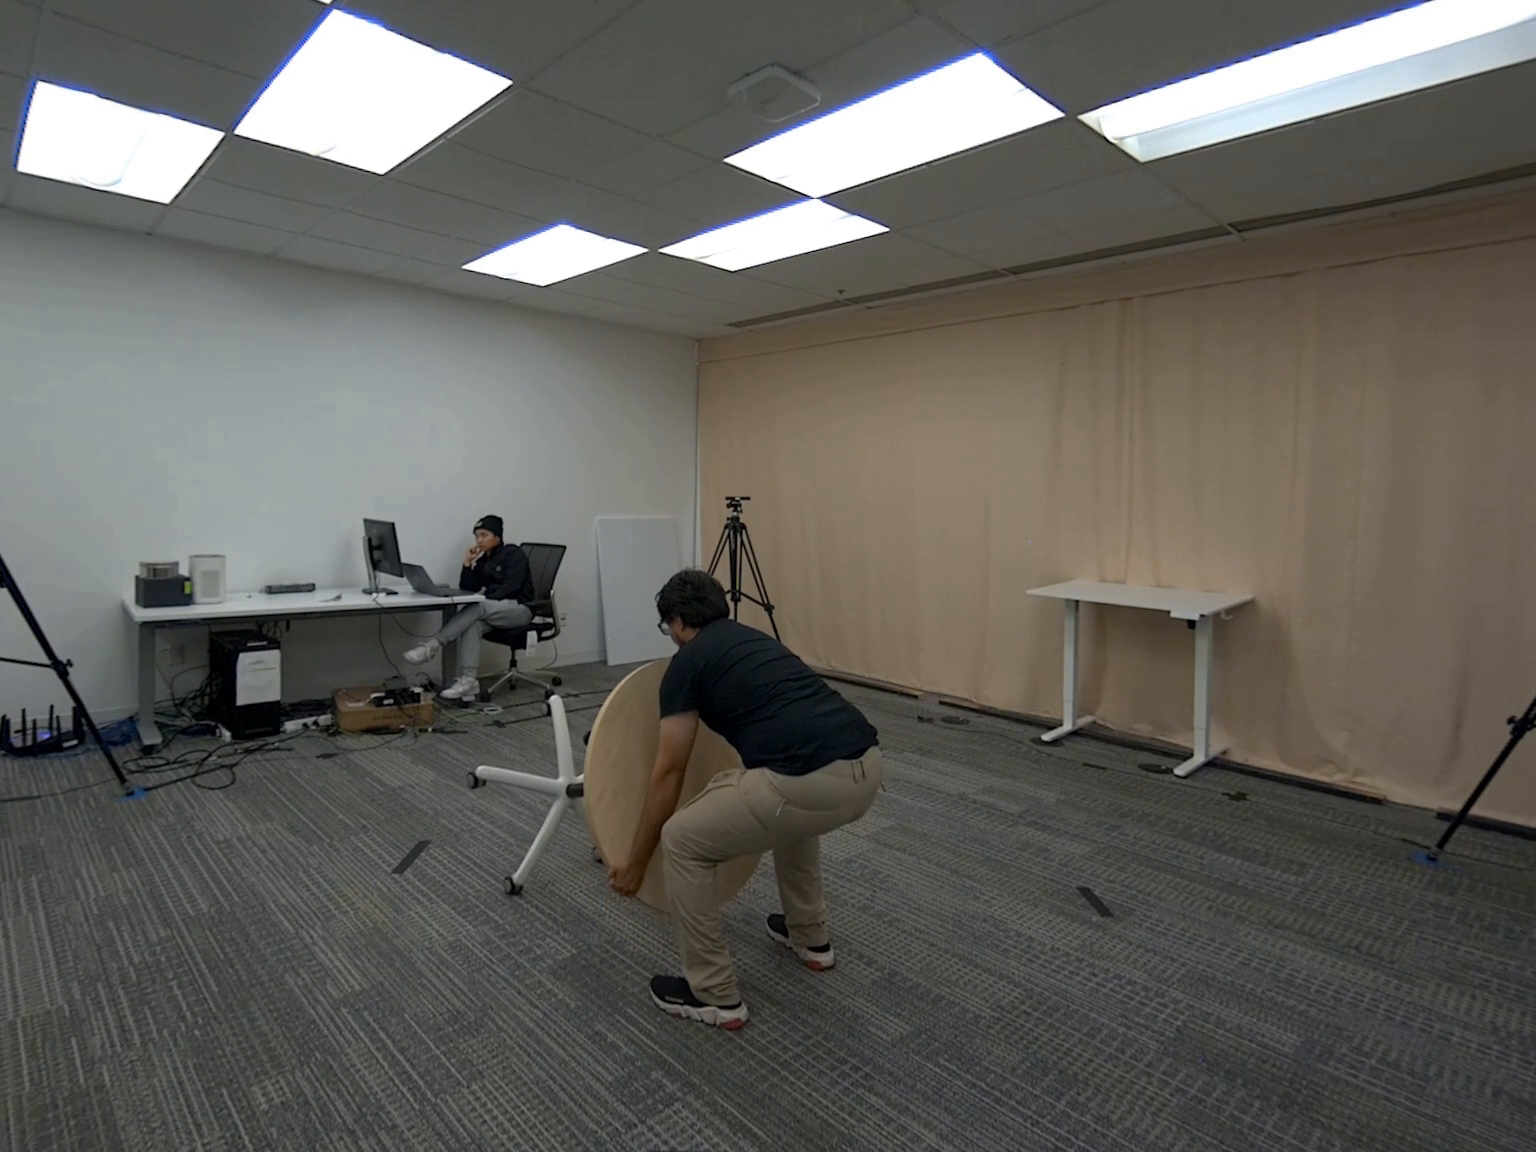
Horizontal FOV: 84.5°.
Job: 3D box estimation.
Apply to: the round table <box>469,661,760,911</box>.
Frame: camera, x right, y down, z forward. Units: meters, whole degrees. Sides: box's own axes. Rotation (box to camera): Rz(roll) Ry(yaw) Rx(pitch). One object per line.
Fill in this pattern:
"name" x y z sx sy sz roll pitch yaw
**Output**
"round table" -0.531 0.730 2.888 0.798 0.791 0.767 -19 -11 42
